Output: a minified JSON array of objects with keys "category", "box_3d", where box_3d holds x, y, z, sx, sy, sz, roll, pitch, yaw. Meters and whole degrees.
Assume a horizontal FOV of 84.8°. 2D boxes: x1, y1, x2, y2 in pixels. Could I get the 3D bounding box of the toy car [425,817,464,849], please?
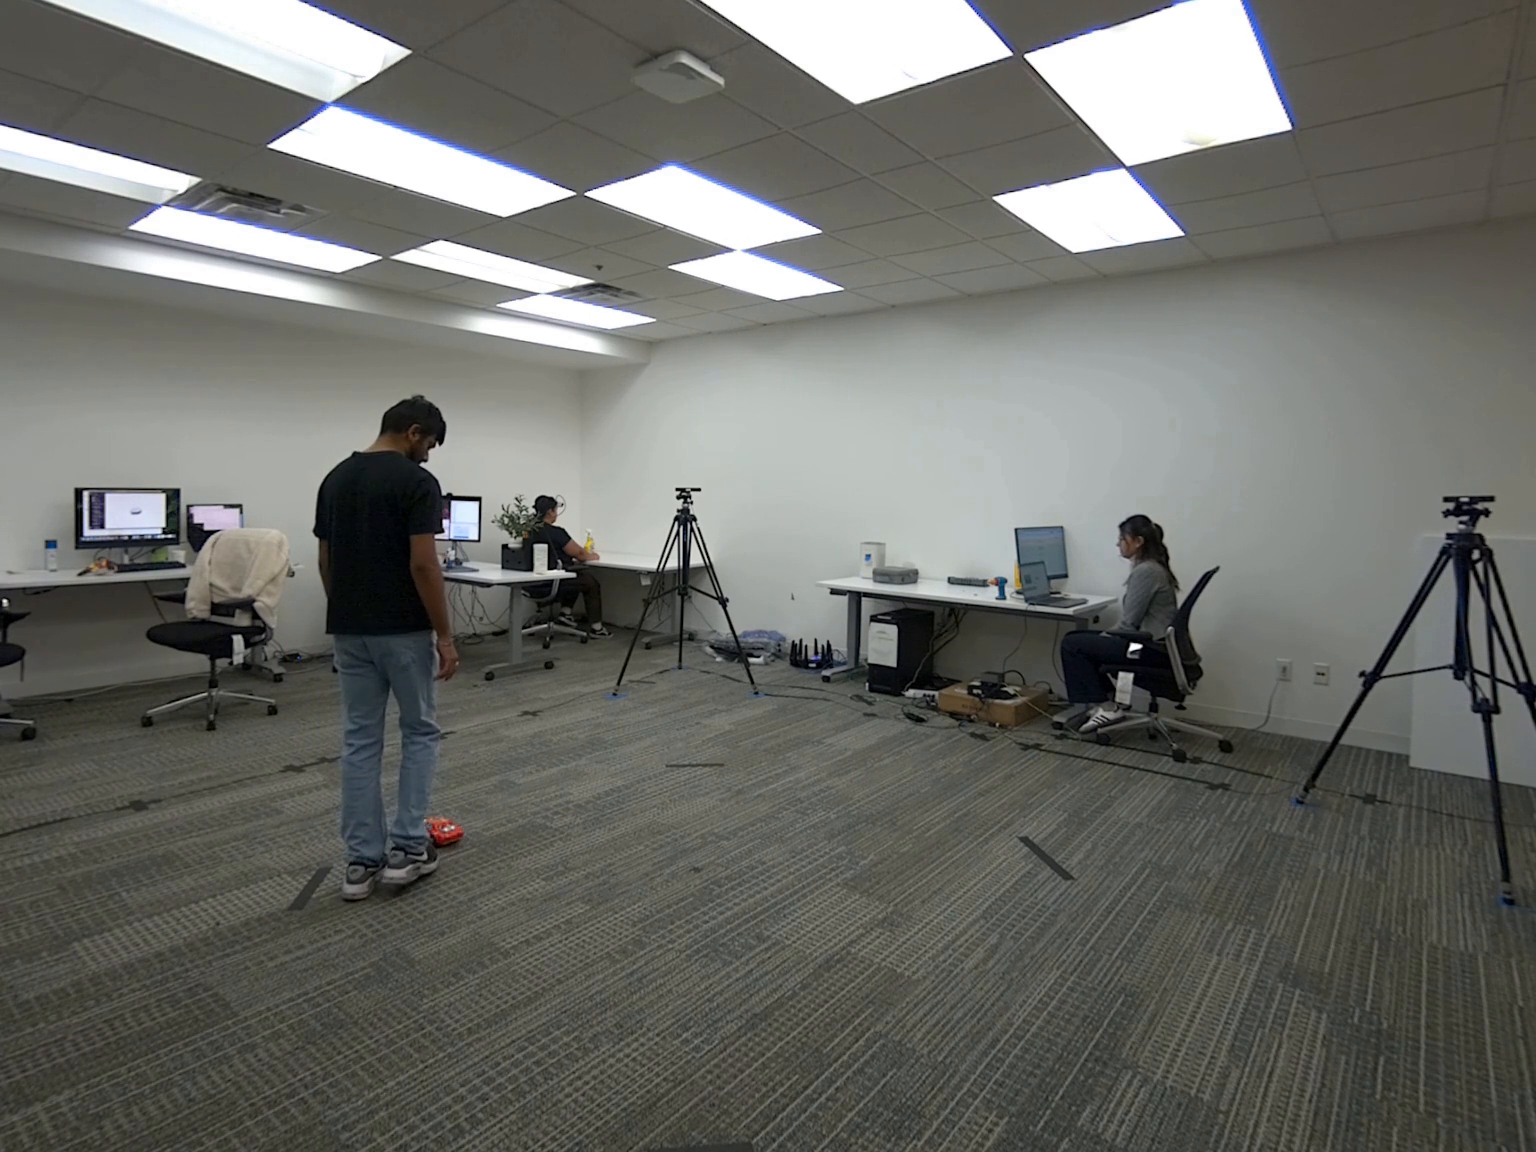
[{"category":"toy car","box_3d":[-1.306,1.004,3.341,0.261,0.083,0.126,-9,-4,43]}]
